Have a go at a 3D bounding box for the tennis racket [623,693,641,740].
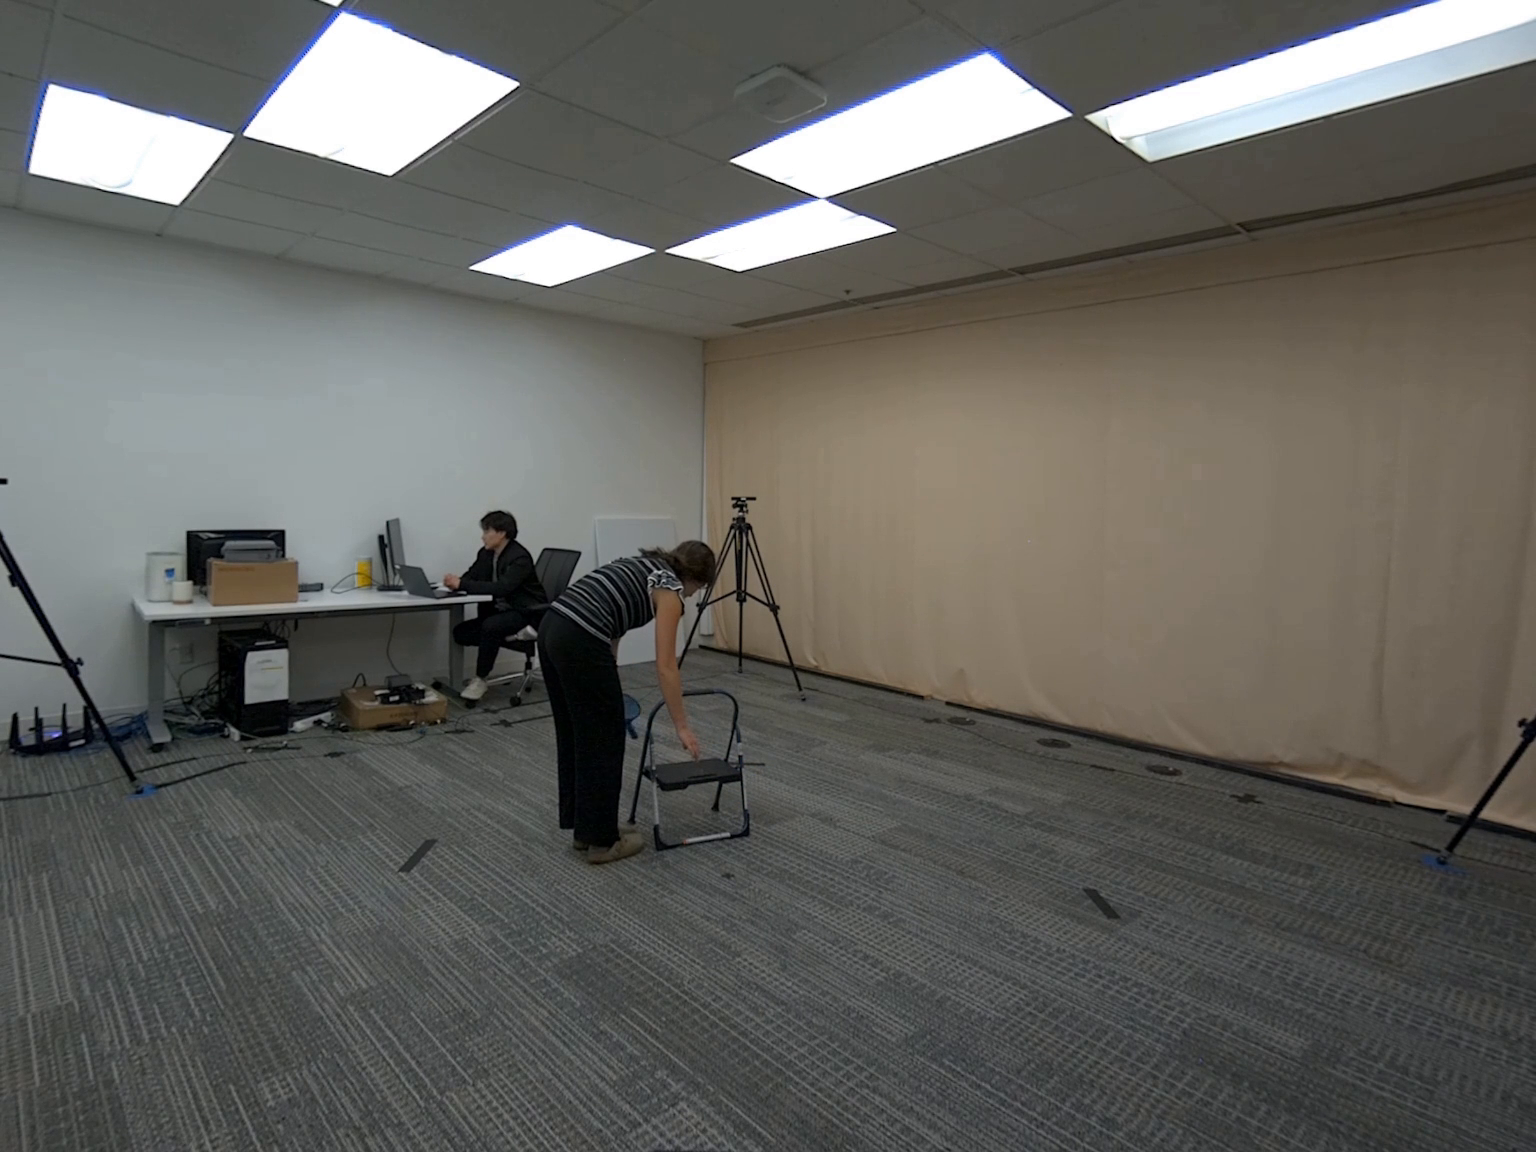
[{"bbox_3d":[-0.665,0.645,3.883,0.217,0.032,0.421,5,-39,16],"label":"tennis racket"}]
